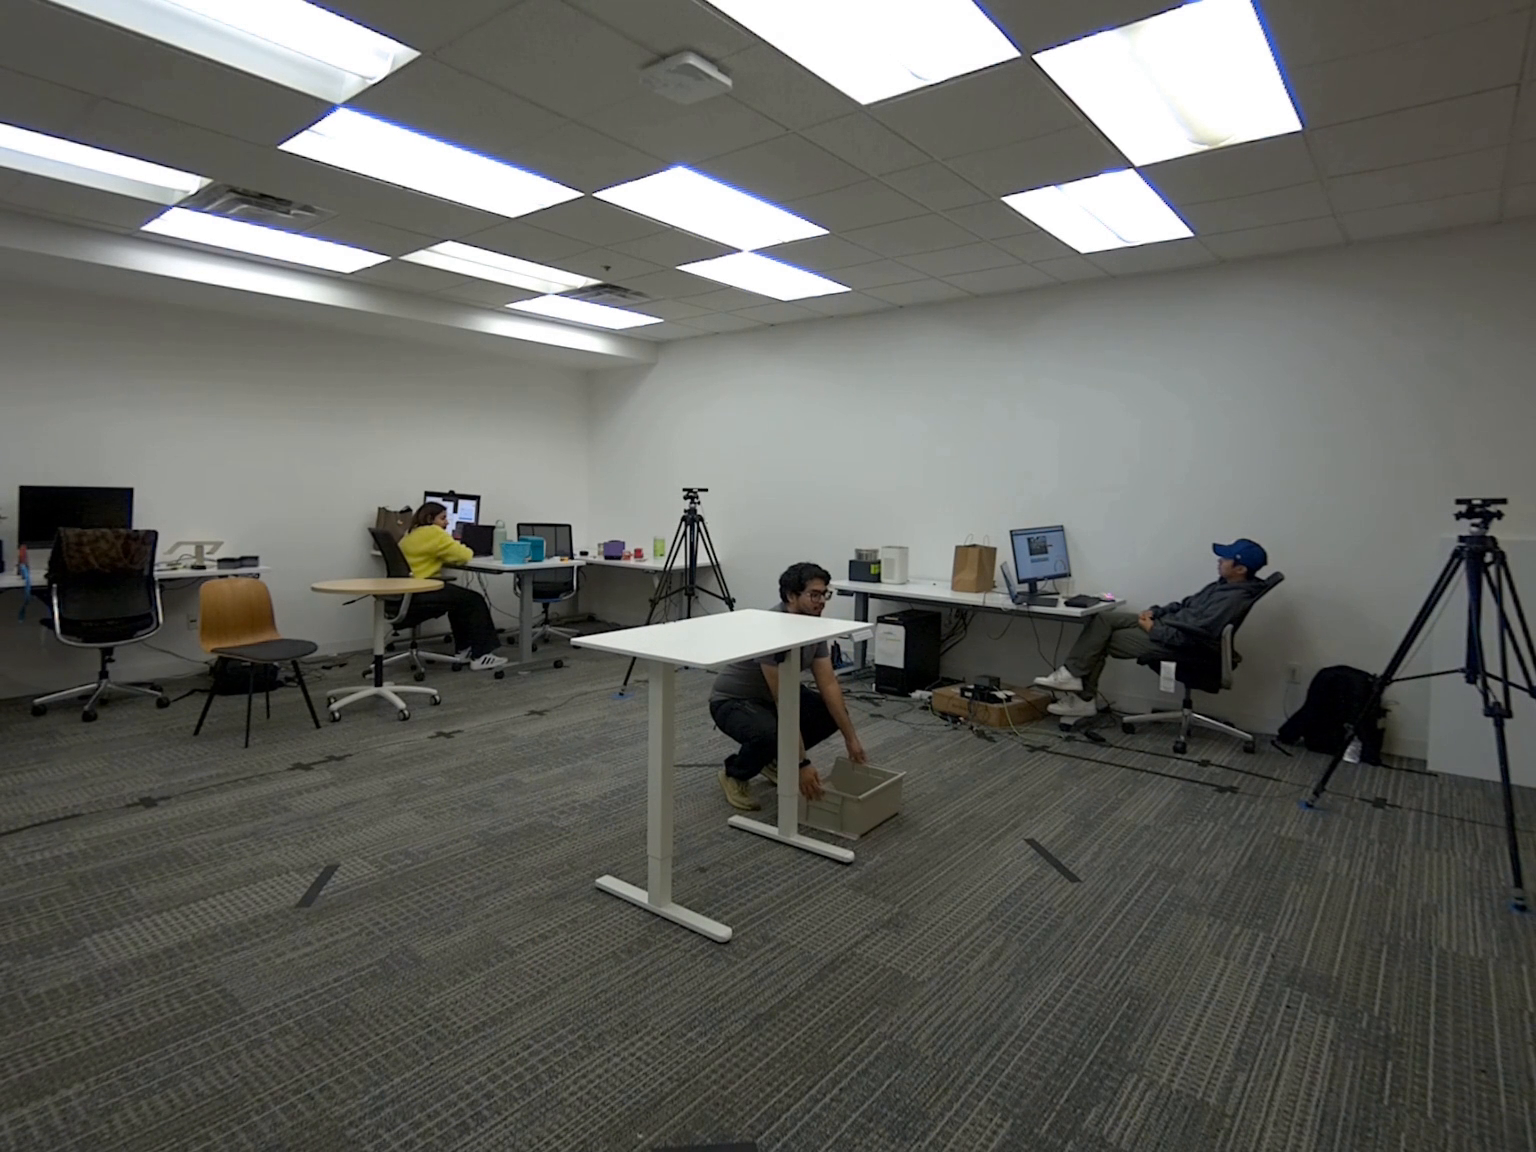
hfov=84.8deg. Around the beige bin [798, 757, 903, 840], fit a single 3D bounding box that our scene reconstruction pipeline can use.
[{"bbox_3d":[0.319,0.938,3.661,0.390,0.188,0.410,5,6,36],"label":"beige bin"}]
